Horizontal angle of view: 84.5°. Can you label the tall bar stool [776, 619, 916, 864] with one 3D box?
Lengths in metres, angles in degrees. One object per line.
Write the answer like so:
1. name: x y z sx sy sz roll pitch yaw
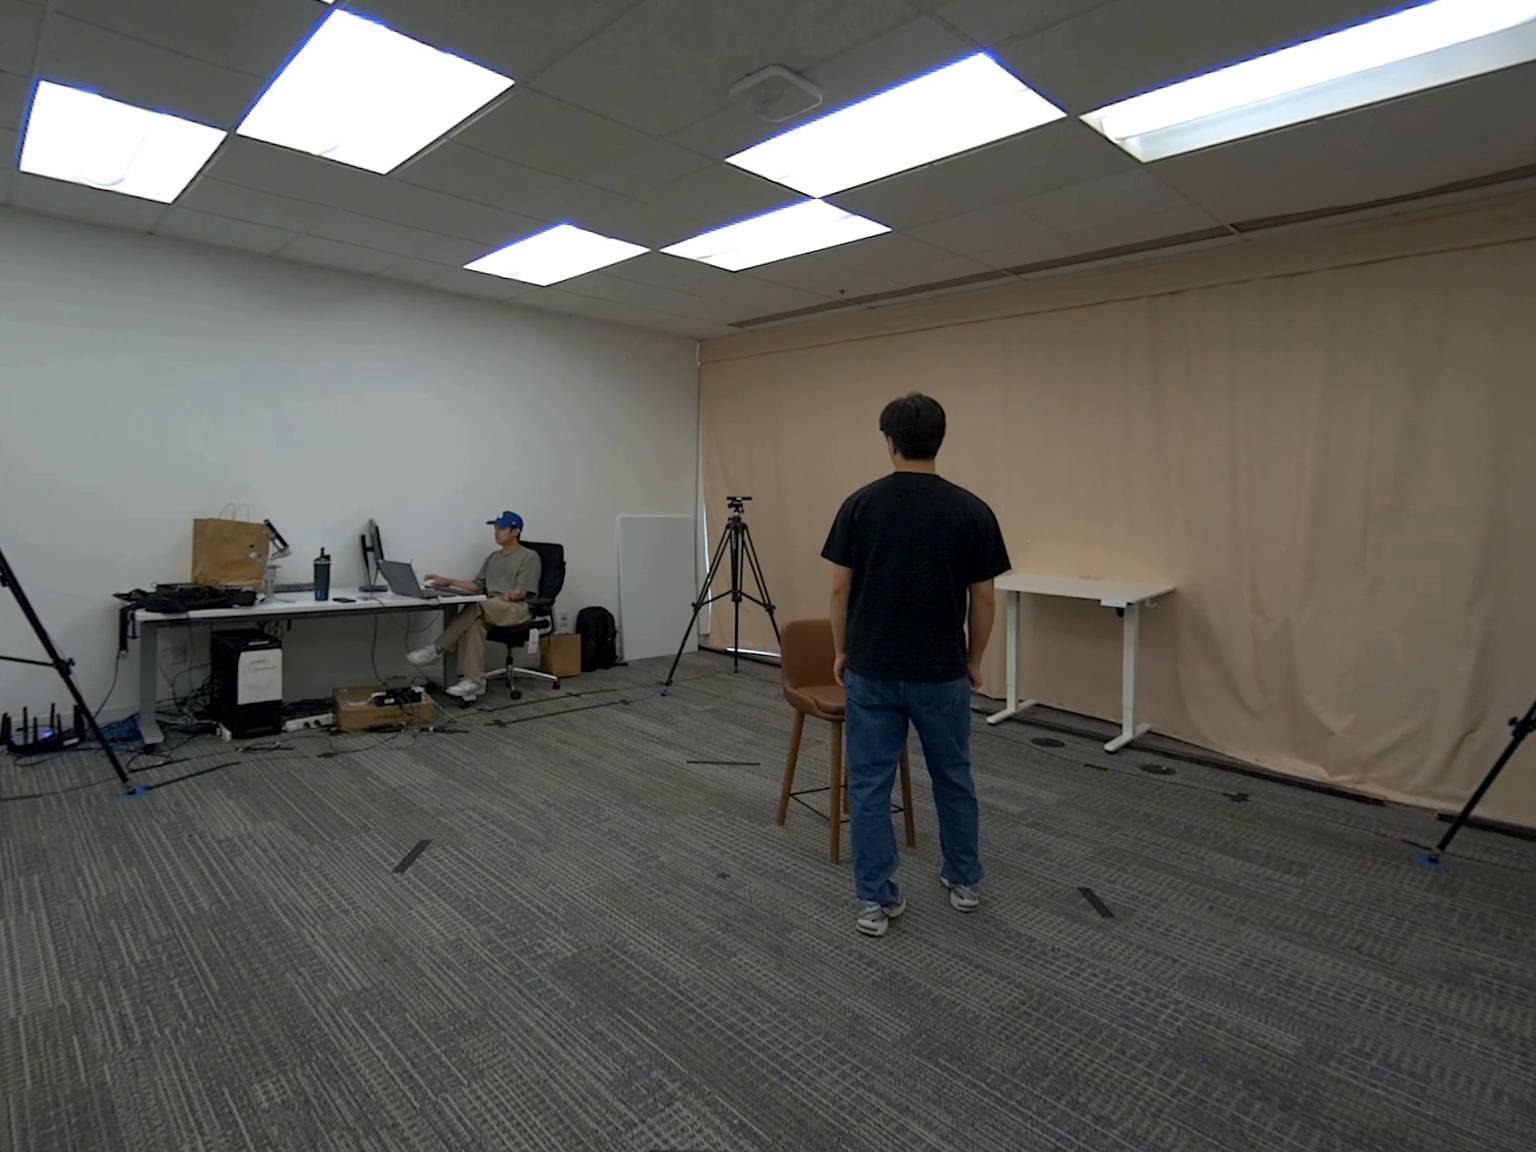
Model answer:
1. tall bar stool: 0.314 0.647 3.490 0.447 0.889 0.477 0 1 -30
